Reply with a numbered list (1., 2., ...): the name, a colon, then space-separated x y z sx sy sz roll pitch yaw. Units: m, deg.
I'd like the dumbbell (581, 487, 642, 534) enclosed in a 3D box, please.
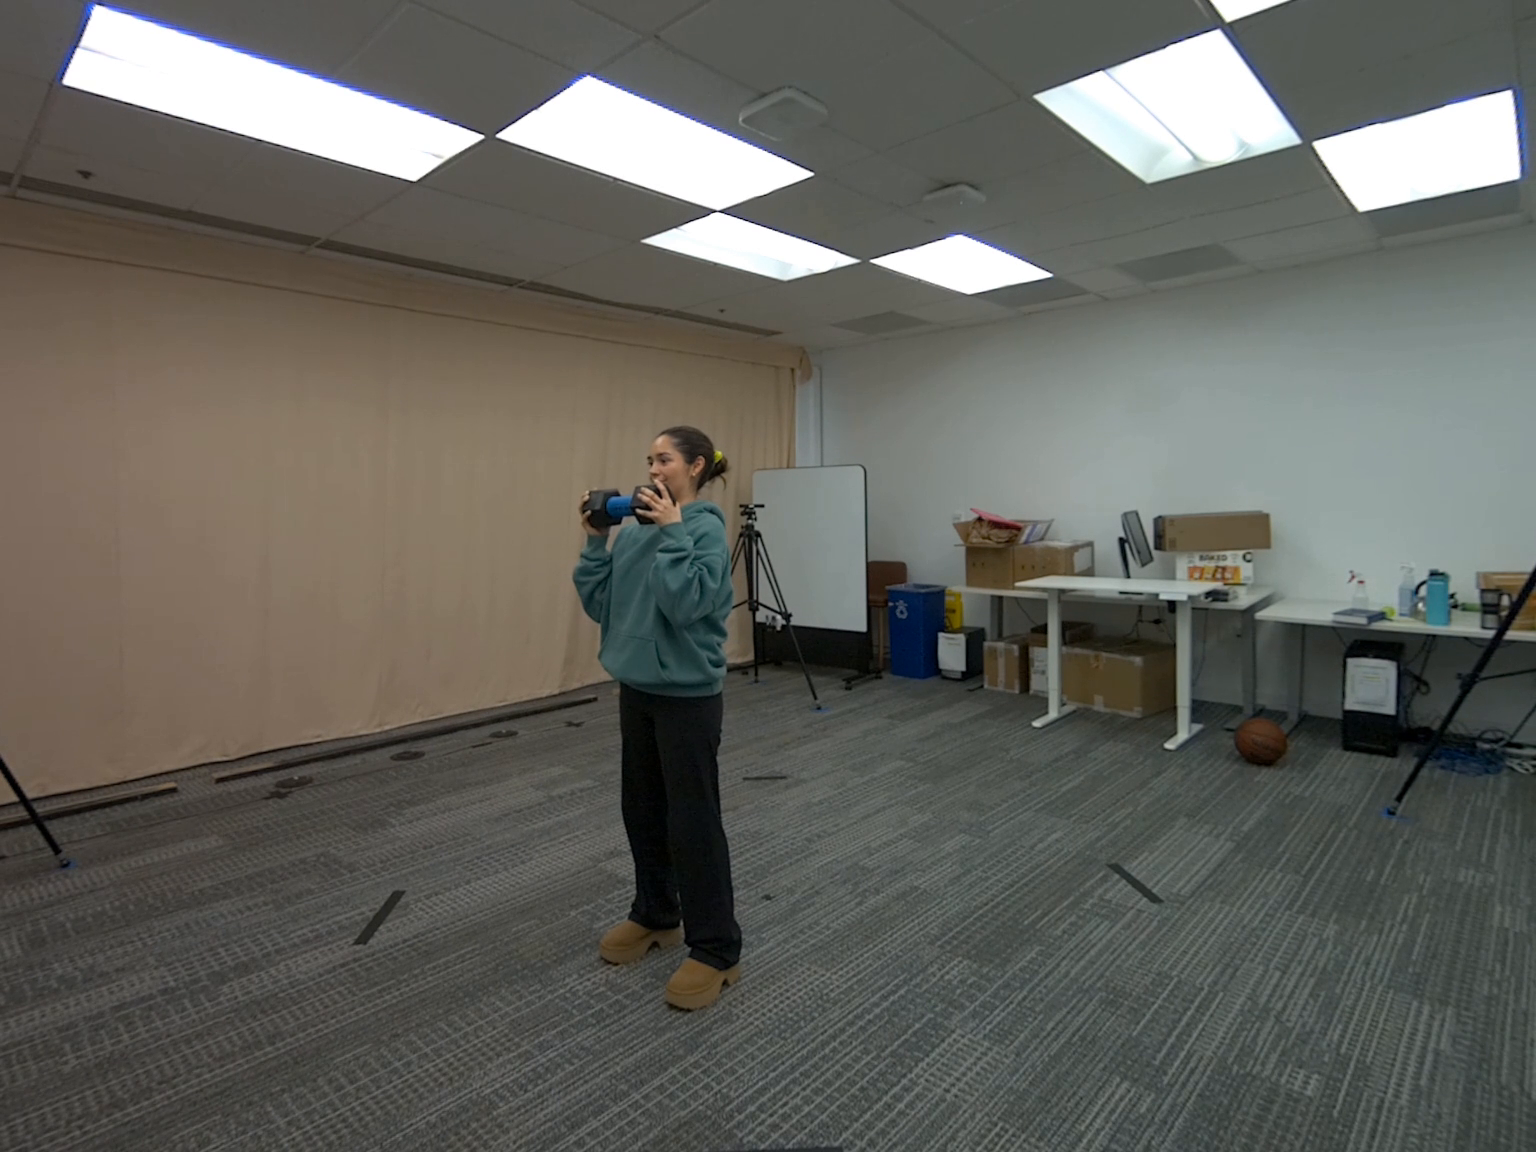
1. dumbbell: -0.394 -0.195 2.385 0.303 0.120 0.108 0 37 45
